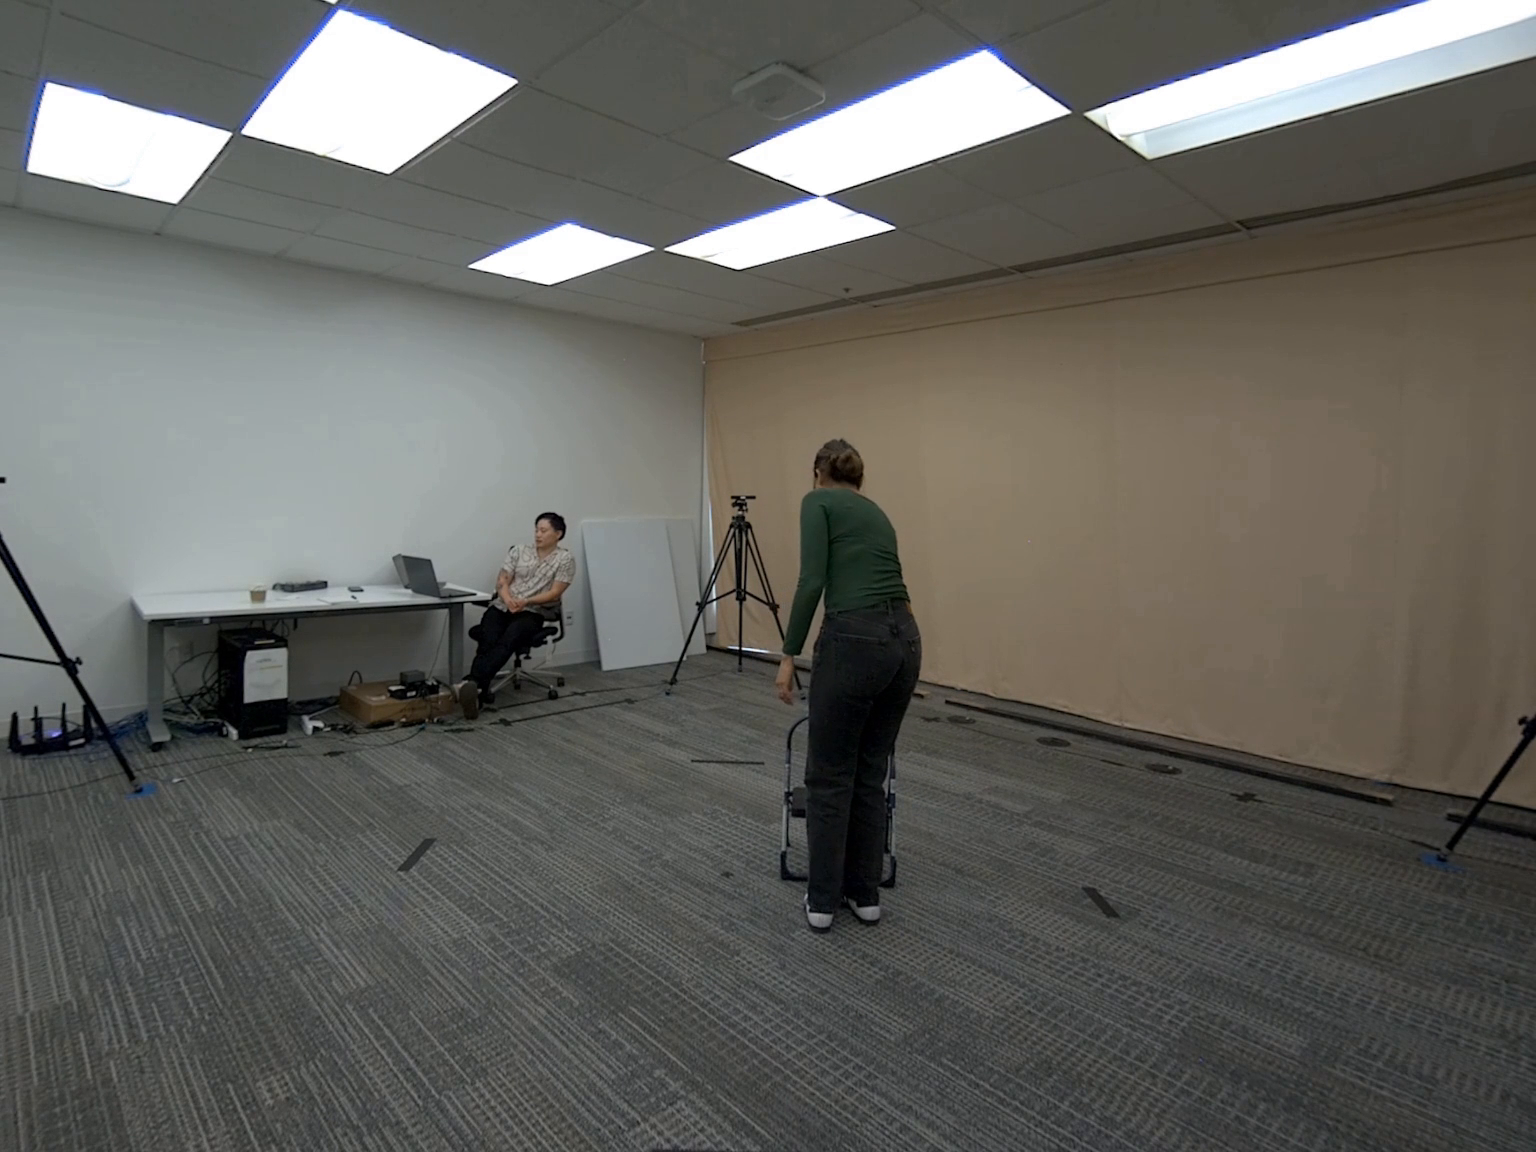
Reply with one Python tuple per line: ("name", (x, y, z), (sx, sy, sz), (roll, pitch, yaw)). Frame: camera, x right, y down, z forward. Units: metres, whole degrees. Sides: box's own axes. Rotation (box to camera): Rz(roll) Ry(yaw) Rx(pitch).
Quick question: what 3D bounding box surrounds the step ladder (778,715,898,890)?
("step ladder", (0.266, 0.803, 3.194), (0.432, 0.605, 0.349), (1, 3, 4))
